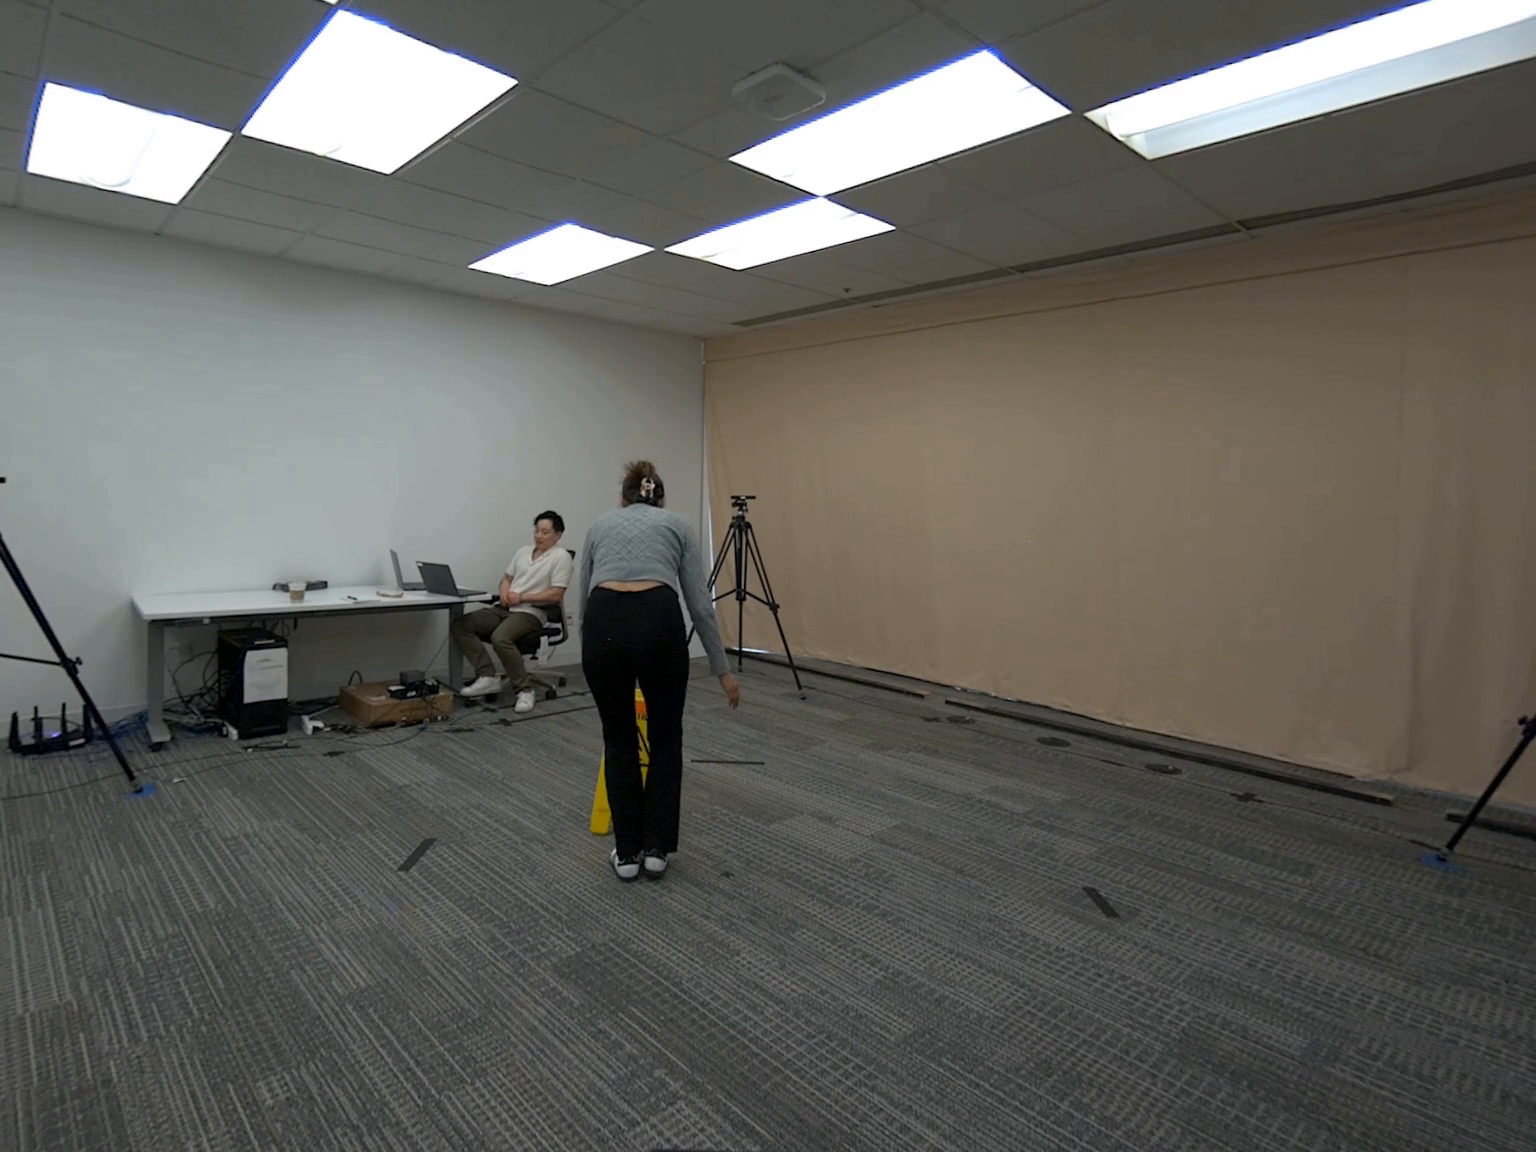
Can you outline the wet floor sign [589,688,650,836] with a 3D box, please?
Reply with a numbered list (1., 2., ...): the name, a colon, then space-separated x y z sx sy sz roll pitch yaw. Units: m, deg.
1. wet floor sign: -0.563 0.725 3.549 0.284 0.645 0.289 7 3 5
